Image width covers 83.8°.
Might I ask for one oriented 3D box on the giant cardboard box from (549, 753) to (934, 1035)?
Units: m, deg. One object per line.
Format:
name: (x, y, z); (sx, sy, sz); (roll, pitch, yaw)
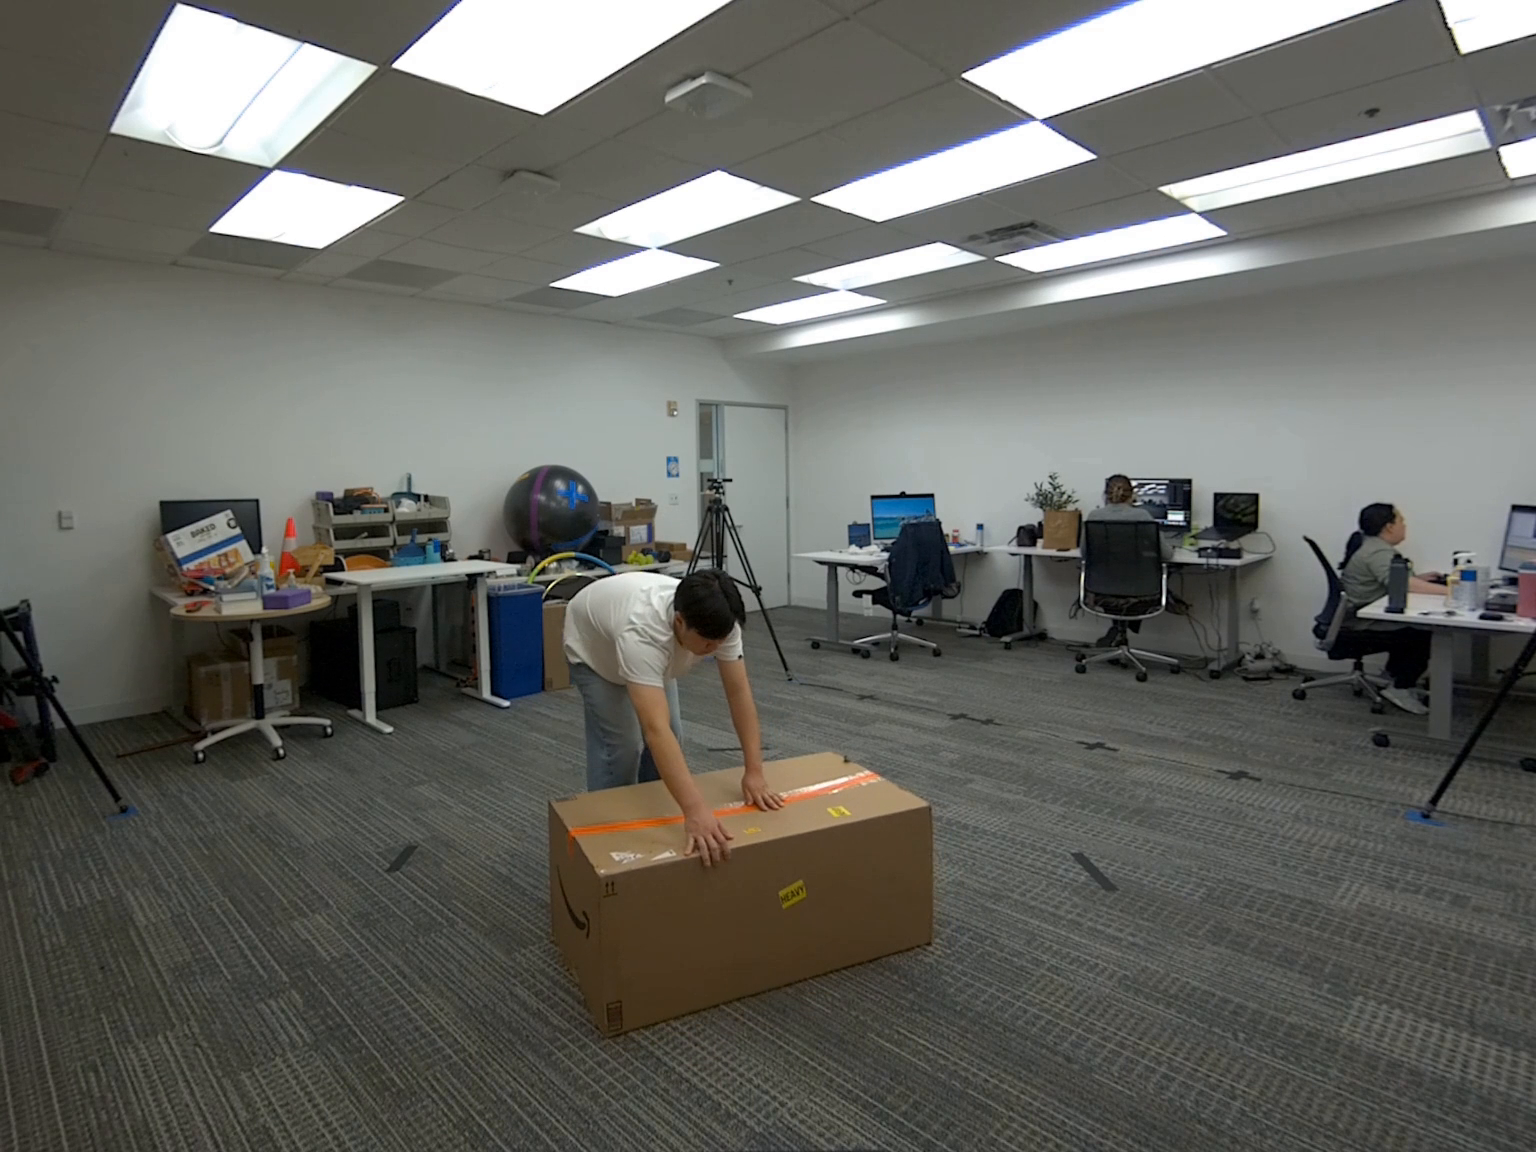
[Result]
giant cardboard box: (-0.089, 0.893, 2.595); (1.005, 0.424, 0.592); (-4, 7, -25)
